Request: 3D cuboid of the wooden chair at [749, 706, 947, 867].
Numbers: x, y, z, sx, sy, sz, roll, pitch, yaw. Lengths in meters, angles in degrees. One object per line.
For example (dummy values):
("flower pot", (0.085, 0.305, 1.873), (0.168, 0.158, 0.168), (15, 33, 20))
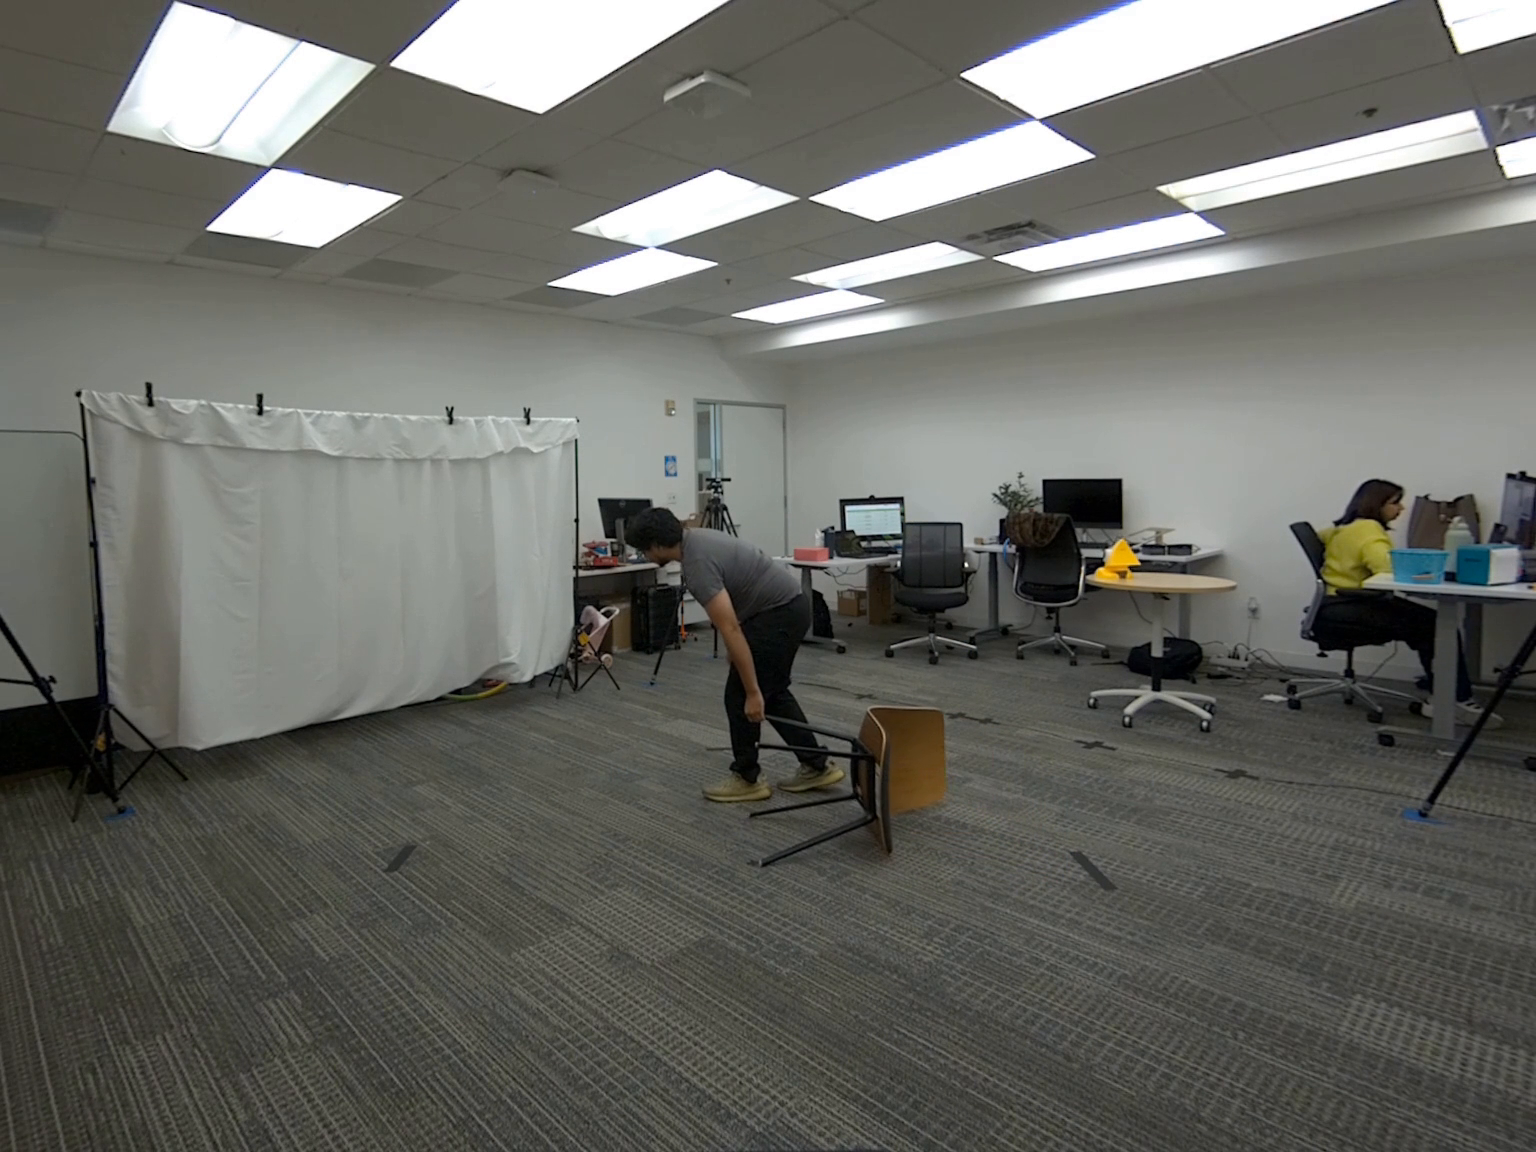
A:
("wooden chair", (0.368, 0.781, 3.297), (0.871, 0.476, 0.529), (-2, 5, -8))
